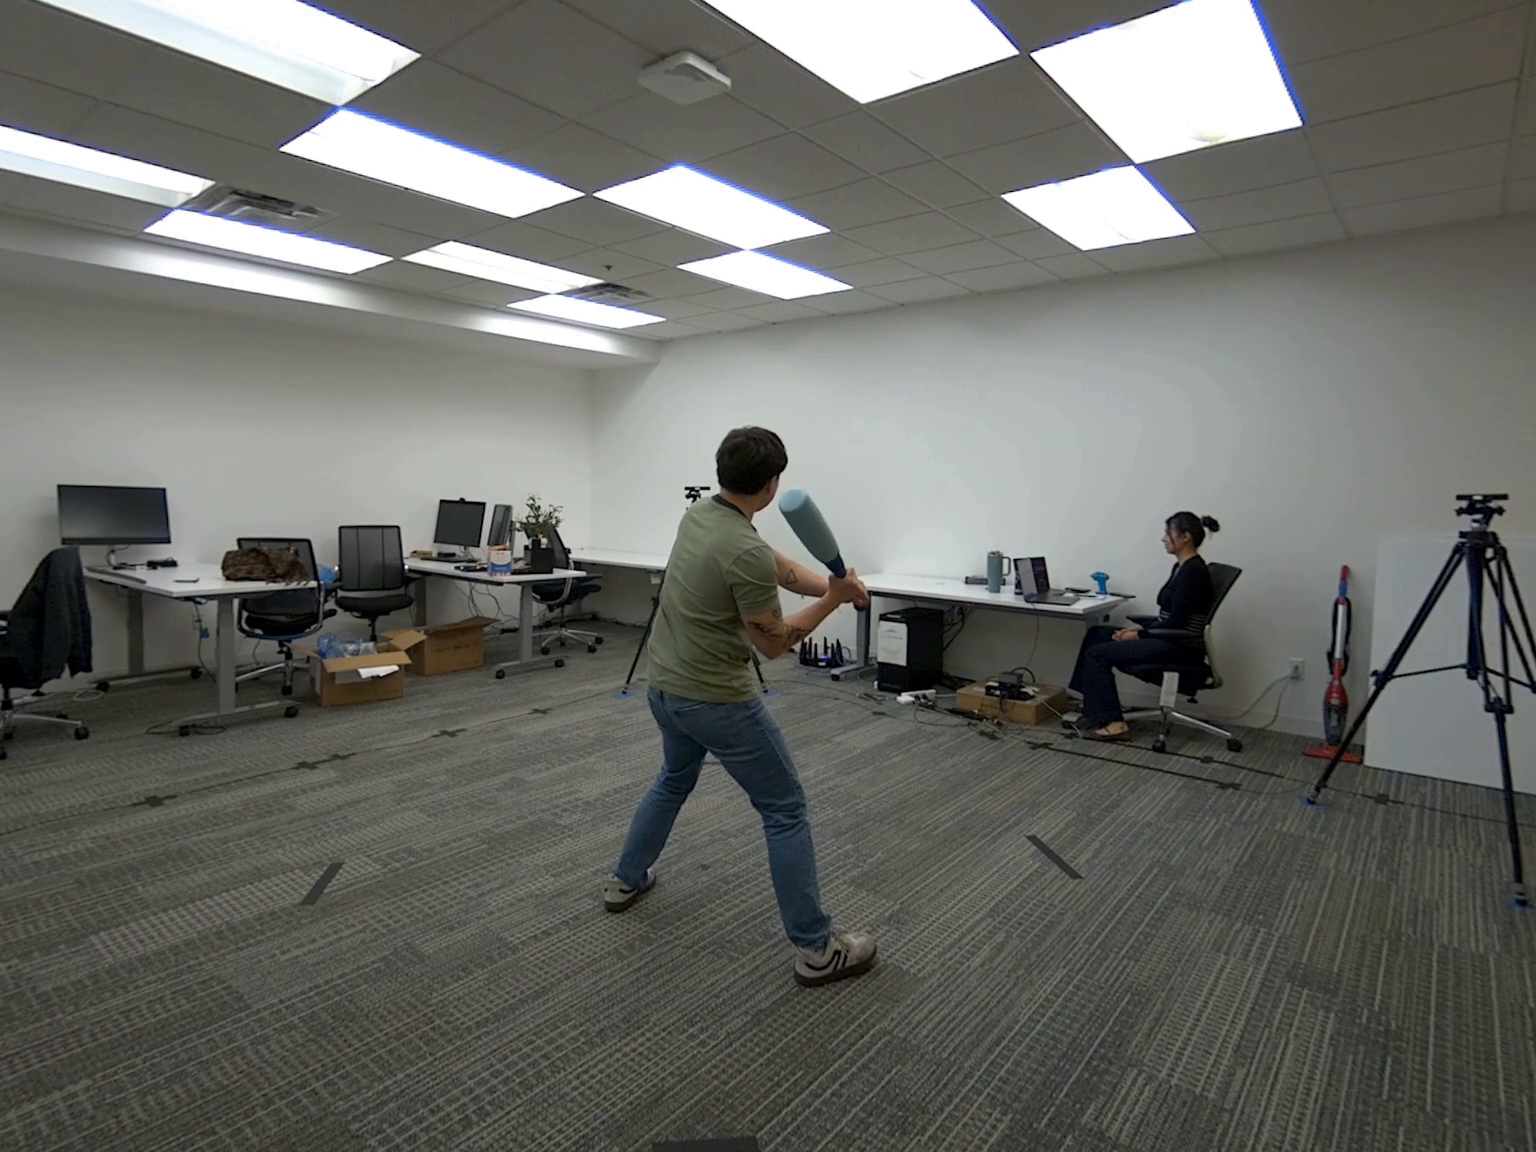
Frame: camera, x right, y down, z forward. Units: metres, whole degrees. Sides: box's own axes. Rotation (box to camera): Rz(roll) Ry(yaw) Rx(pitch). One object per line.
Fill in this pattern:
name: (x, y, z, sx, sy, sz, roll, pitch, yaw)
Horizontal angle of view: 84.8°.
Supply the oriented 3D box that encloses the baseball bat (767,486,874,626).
baseball bat: (0.158, -0.047, 2.403, 0.092, 0.090, 0.521, 3, -35, 34)
